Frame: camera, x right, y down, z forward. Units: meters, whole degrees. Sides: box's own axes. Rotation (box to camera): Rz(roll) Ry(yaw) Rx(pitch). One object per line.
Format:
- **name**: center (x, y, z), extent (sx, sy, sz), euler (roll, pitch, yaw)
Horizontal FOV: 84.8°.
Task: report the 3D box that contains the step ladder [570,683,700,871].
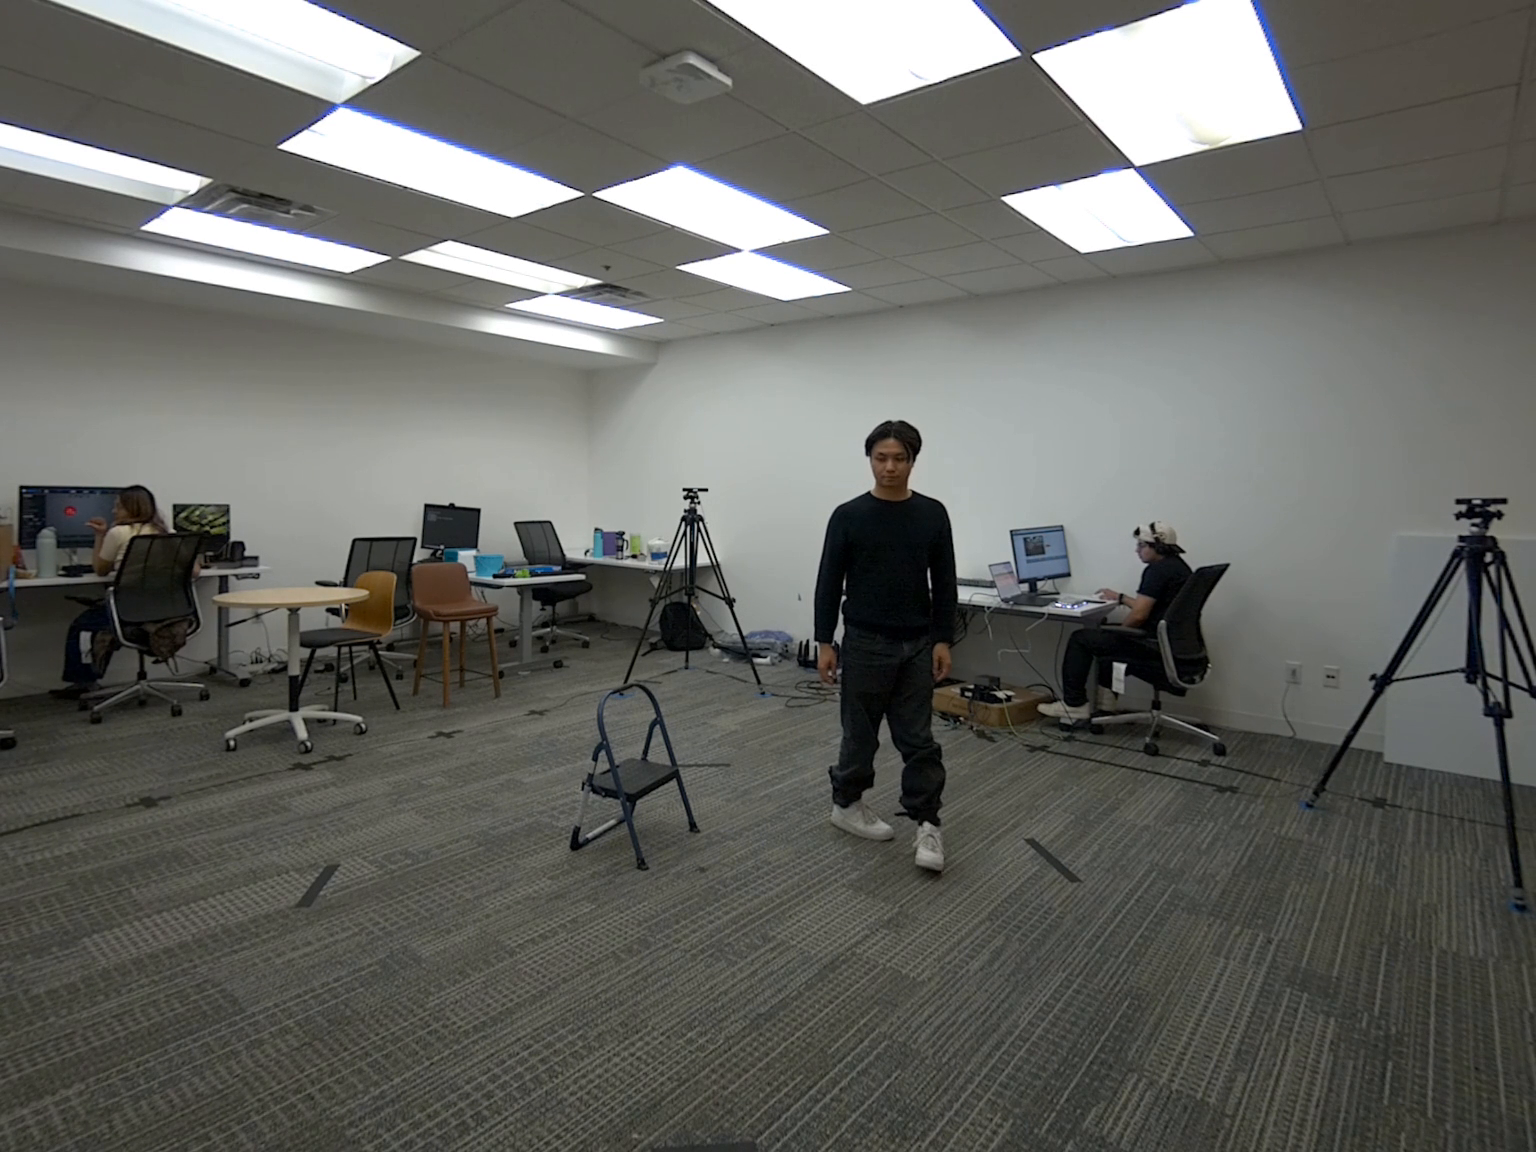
- **step ladder**: center (-0.525, 0.739, 3.345), extent (0.358, 0.604, 0.421), euler (3, 4, 26)
